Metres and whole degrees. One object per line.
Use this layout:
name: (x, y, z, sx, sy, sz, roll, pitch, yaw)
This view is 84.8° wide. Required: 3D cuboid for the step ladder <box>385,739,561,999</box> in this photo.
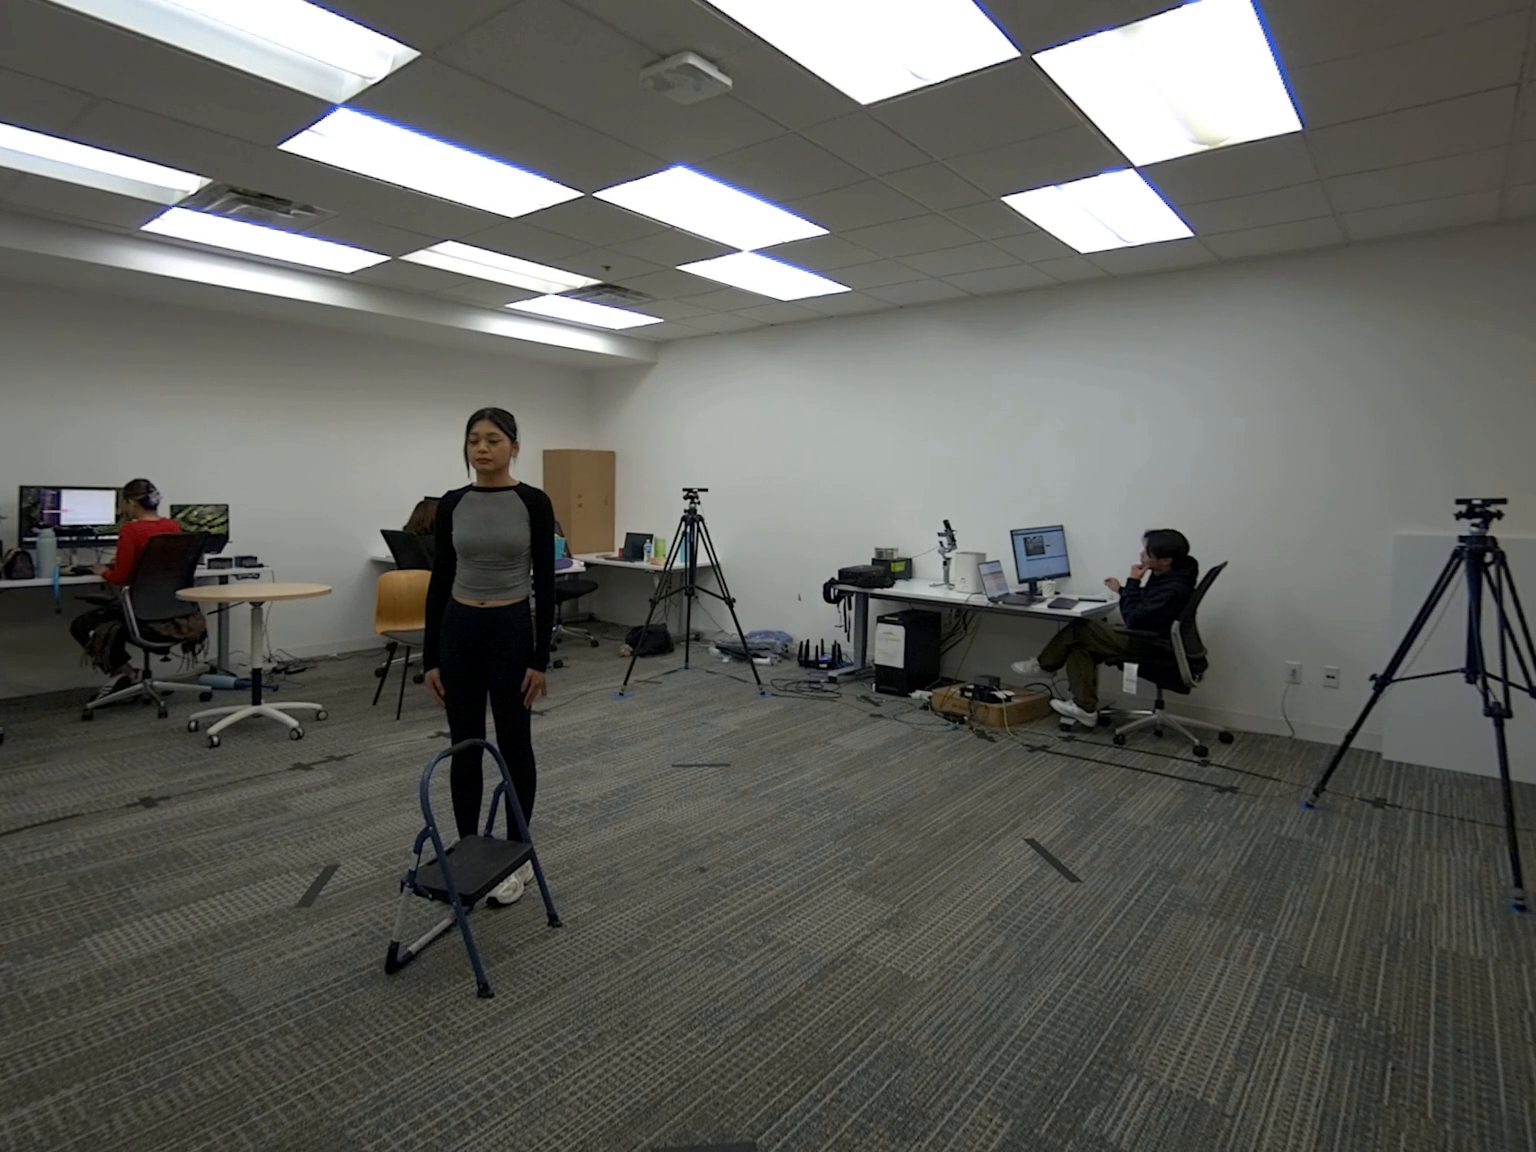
step ladder: (-0.877, 0.816, 2.539, 0.356, 0.605, 0.424, 2, 3, 16)
